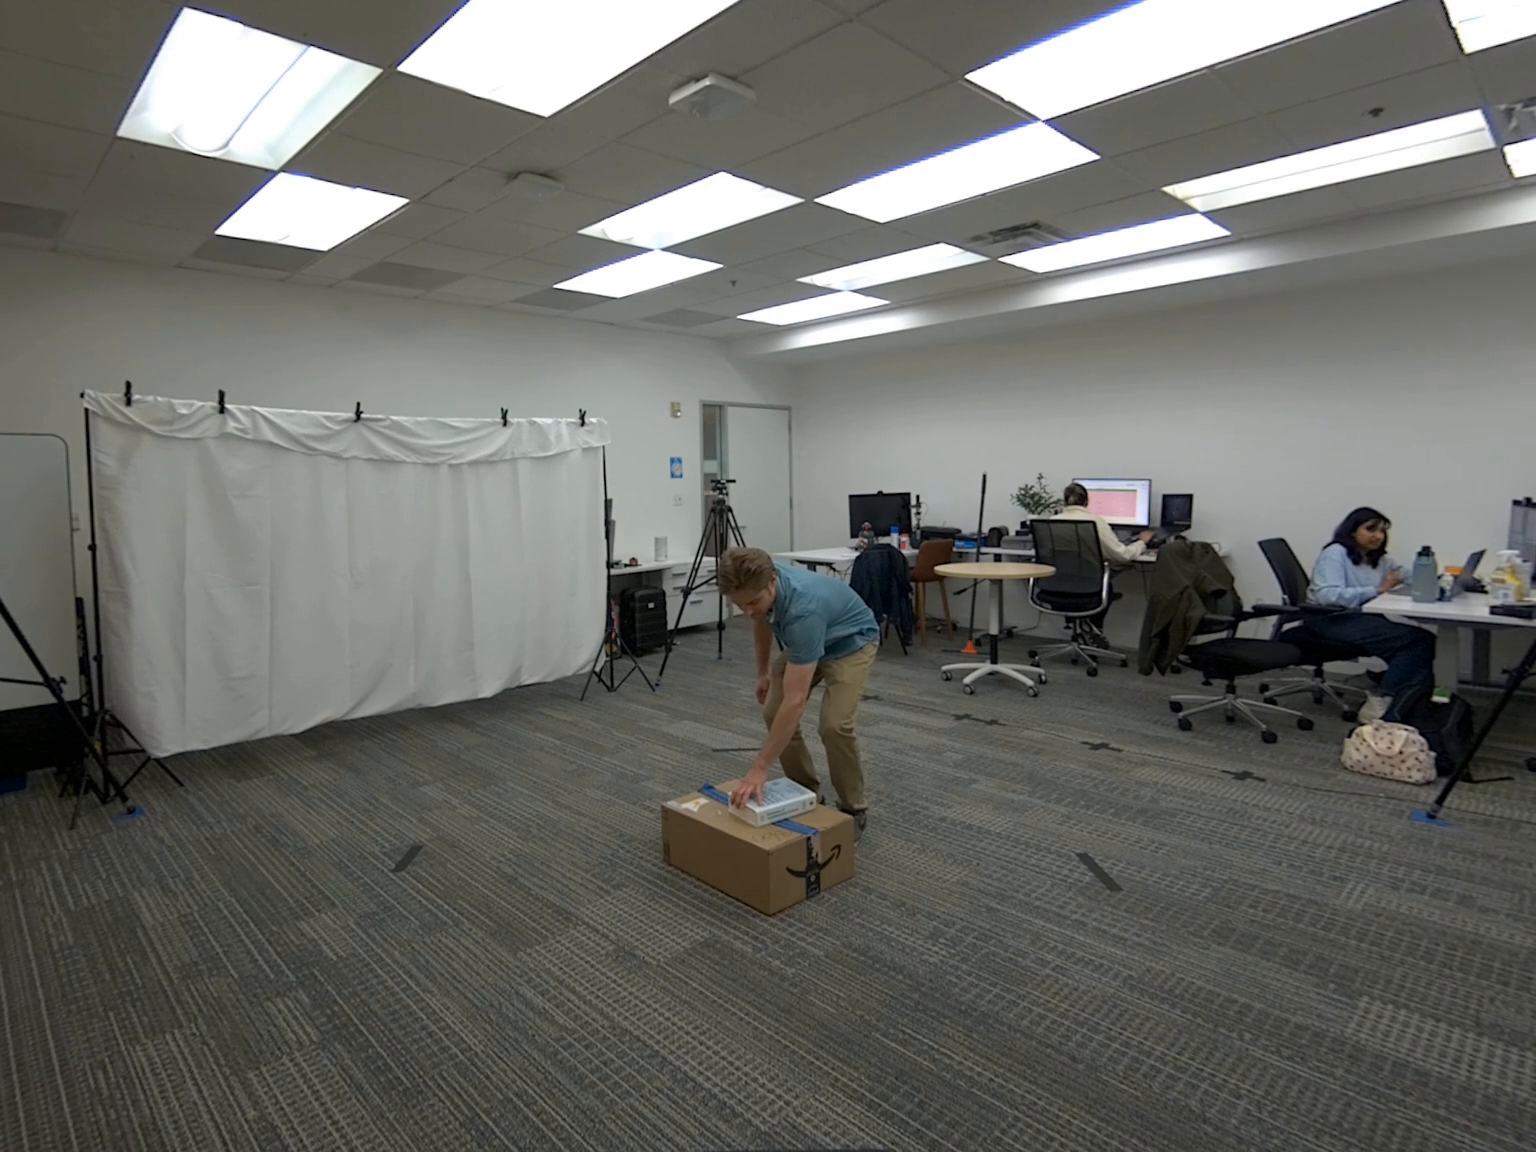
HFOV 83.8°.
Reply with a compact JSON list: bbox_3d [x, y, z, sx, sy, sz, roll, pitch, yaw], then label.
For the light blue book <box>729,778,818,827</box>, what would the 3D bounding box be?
[{"bbox_3d":[0.014,0.814,3.066,0.255,0.058,0.198,-6,13,-32],"label":"light blue book"}]
